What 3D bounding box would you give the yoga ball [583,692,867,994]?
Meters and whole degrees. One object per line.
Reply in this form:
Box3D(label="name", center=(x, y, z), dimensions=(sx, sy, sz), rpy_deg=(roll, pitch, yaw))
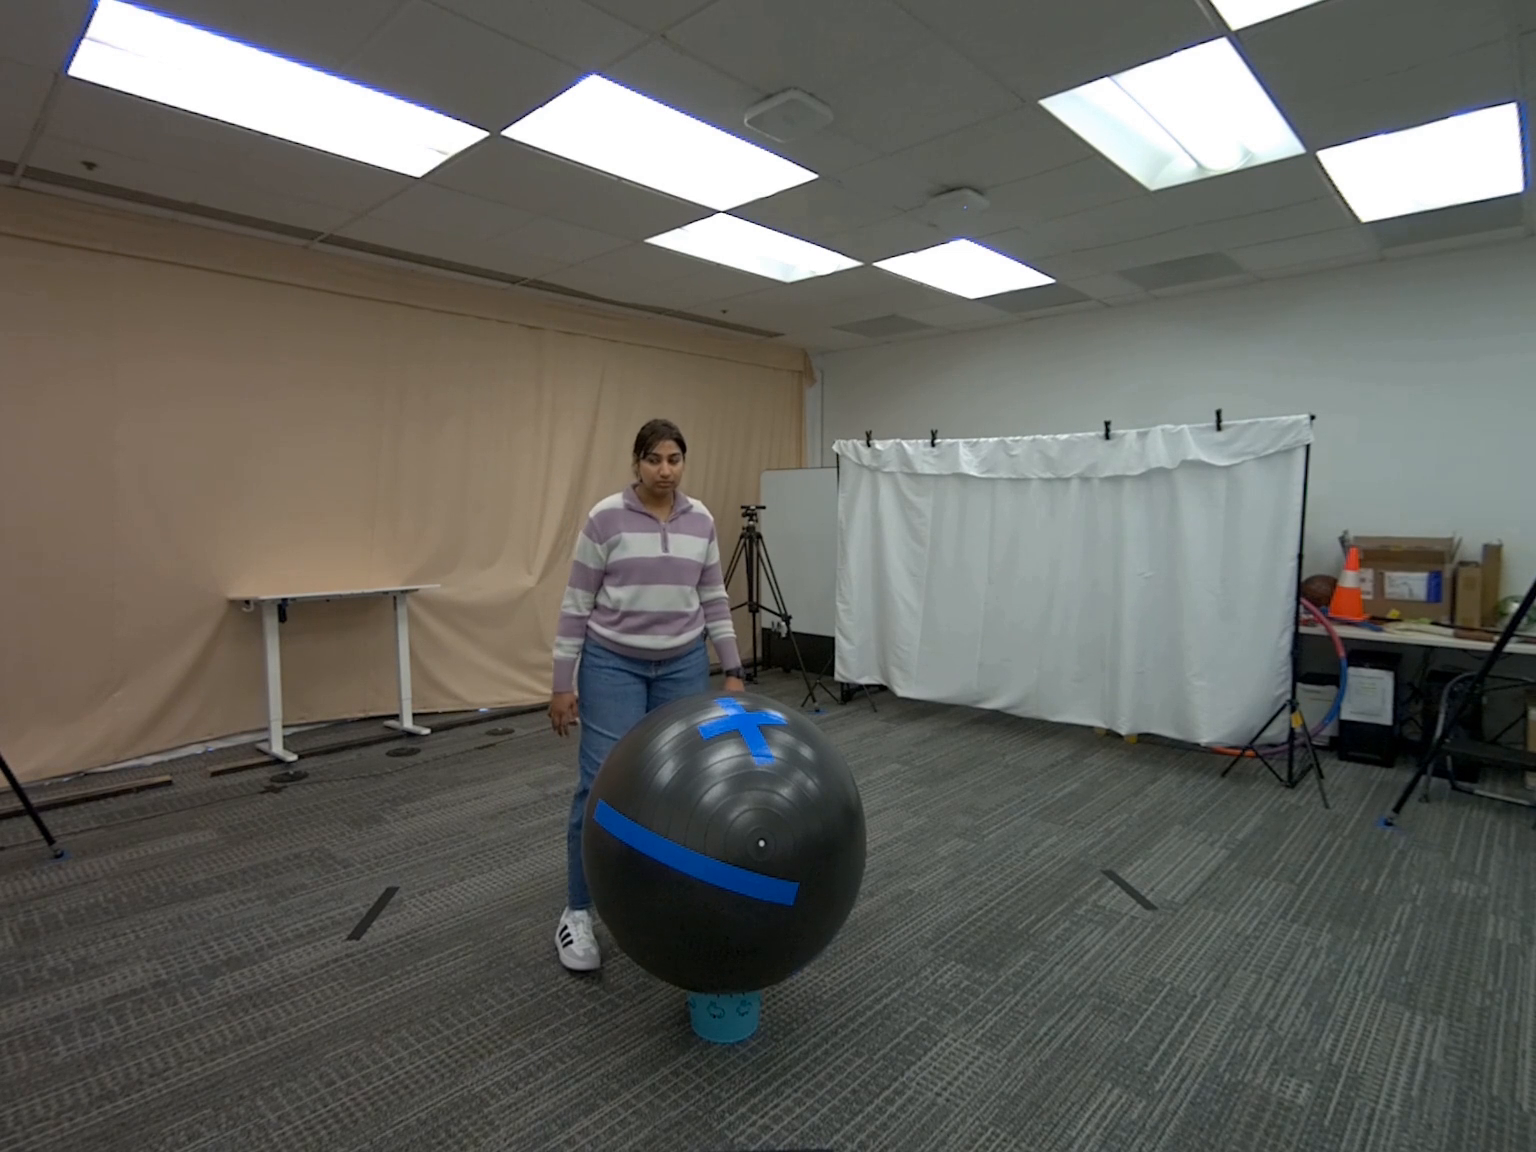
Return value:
Box3D(label="yoga ball", center=(-0.109, 0.704, 2.238), dimensions=(0.757, 0.756, 0.761), rpy_deg=(0, 4, -2))
